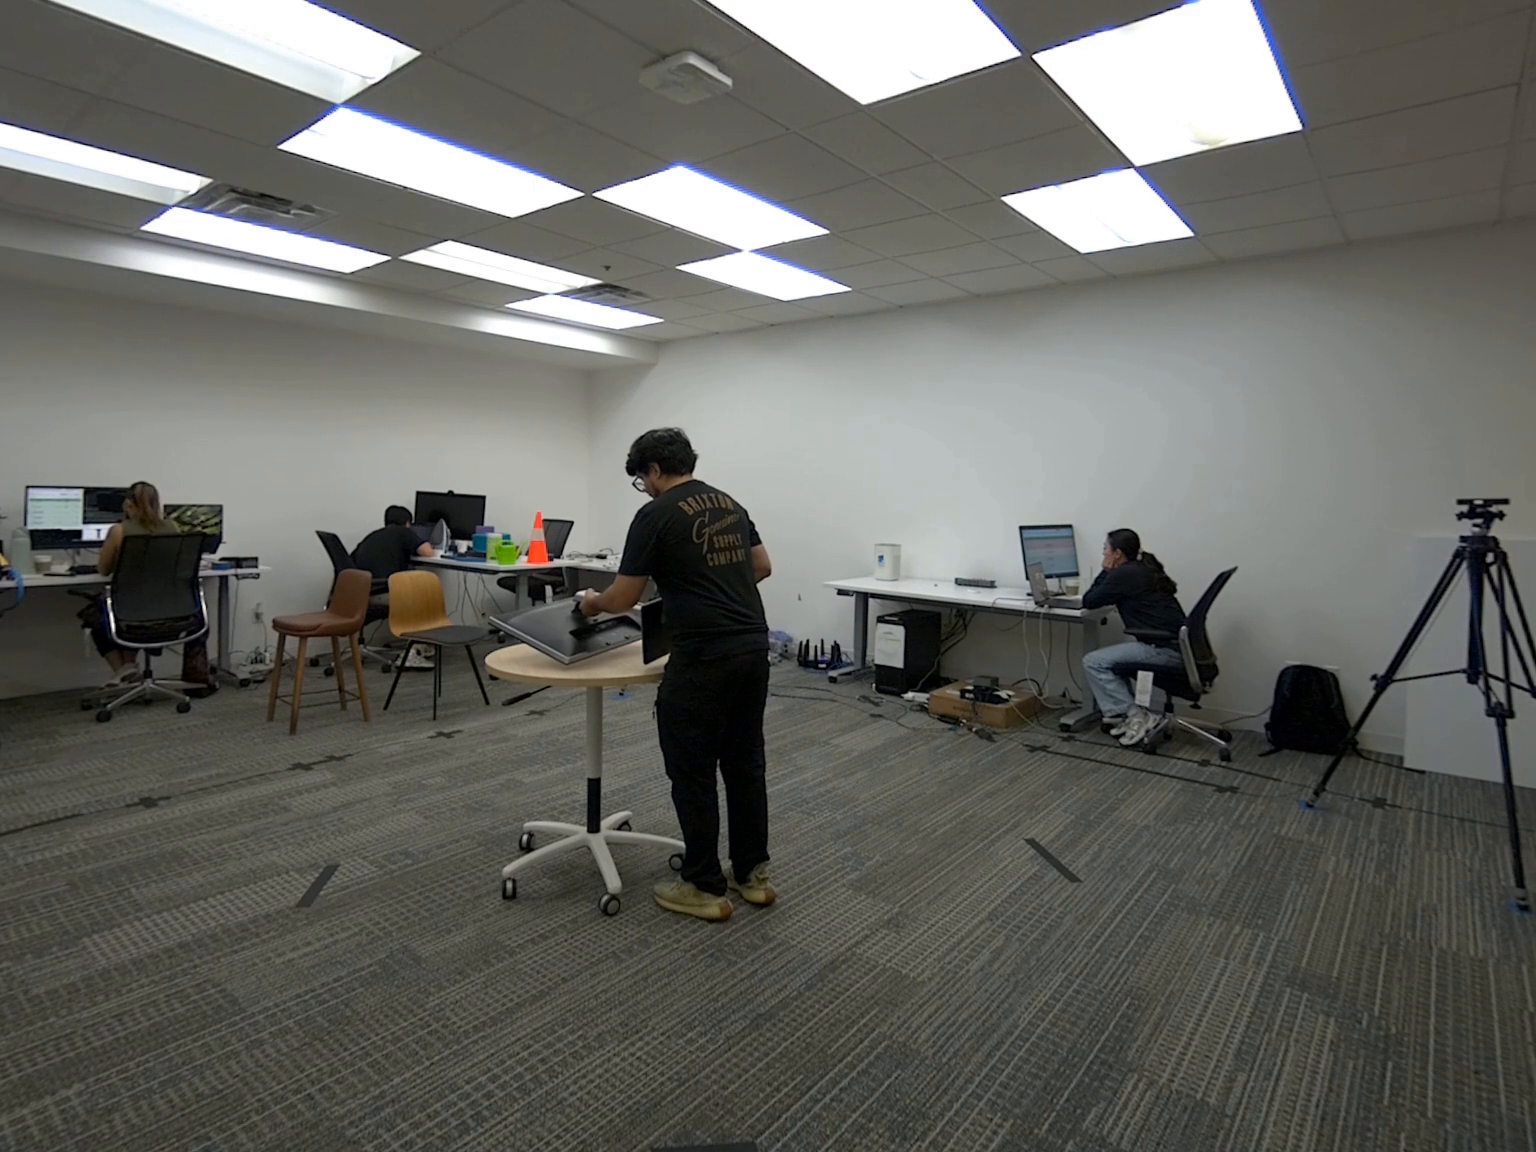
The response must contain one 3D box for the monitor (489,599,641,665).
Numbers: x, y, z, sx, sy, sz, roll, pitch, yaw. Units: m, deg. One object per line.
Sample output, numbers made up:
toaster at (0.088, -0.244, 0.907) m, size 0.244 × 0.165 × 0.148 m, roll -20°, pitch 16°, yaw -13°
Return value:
monitor at (-0.604, 0.126, 3.050) m, size 0.572 × 0.208 × 0.553 m, roll 15°, pitch 14°, yaw 27°
